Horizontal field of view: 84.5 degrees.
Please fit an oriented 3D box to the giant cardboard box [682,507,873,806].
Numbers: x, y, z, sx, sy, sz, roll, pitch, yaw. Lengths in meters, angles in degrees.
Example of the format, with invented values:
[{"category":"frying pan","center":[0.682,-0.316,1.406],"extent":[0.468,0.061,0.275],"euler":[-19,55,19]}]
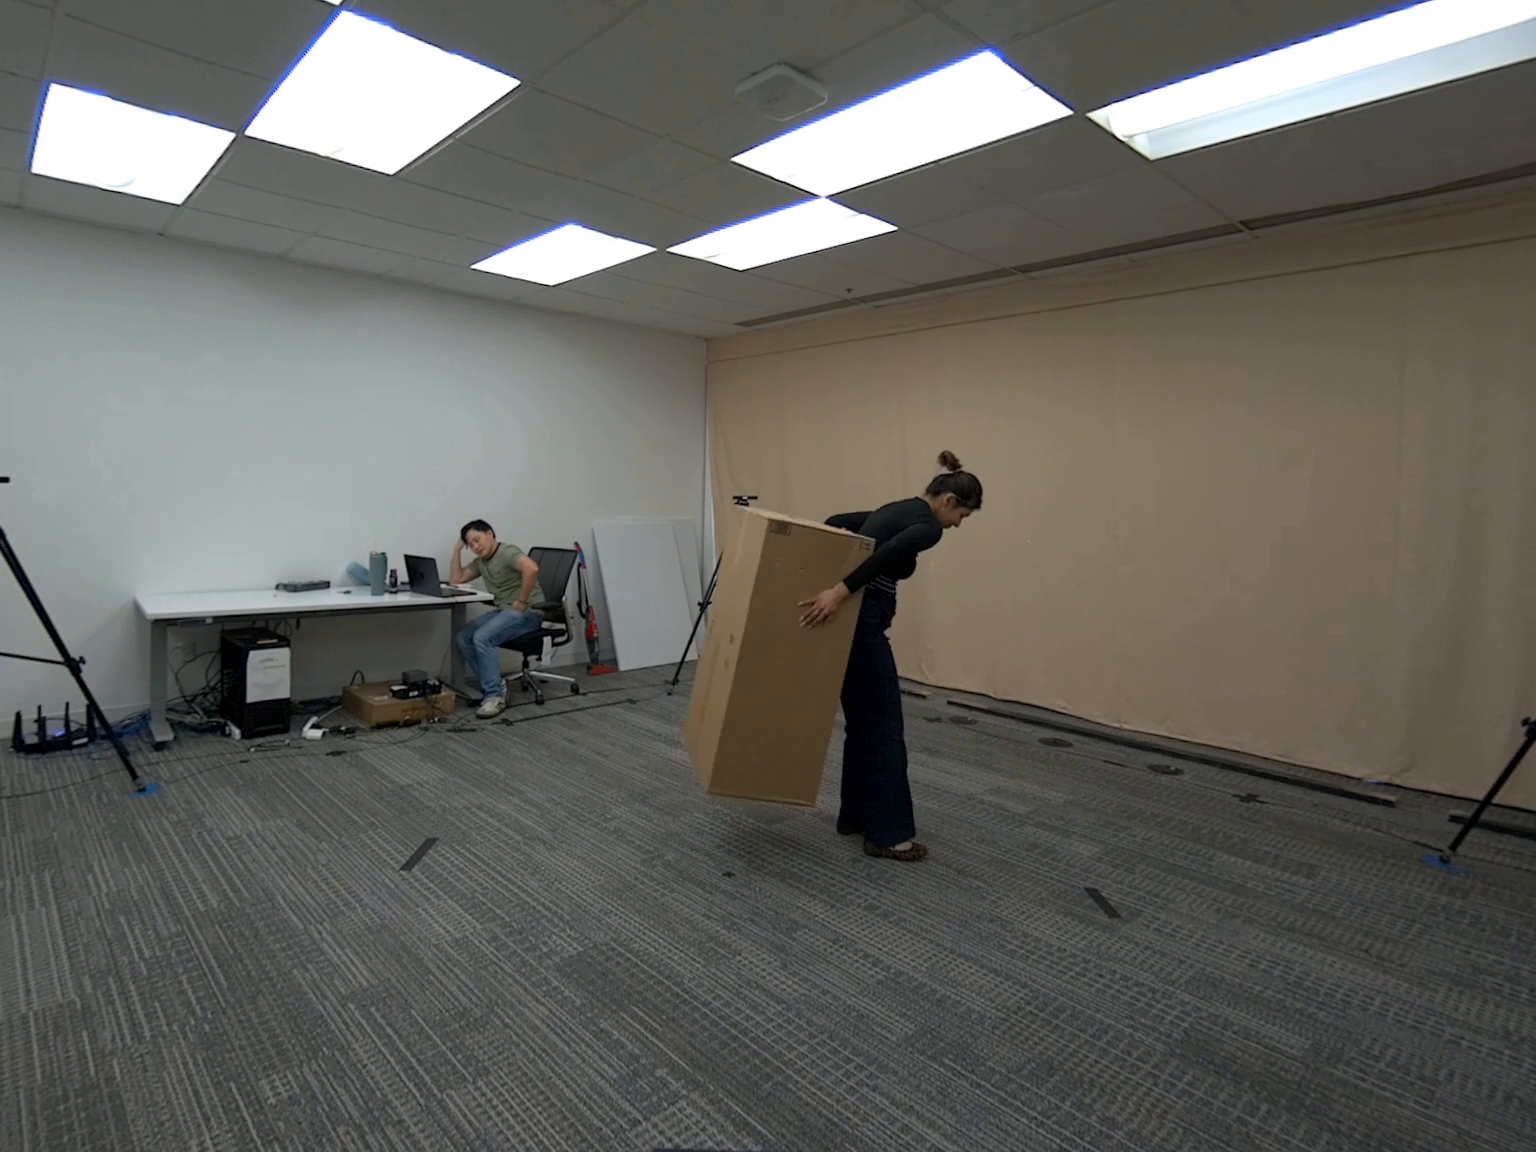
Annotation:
[{"category":"giant cardboard box","center":[0.002,0.296,3.312],"extent":[0.420,1.023,0.587],"euler":[11,5,-16]}]
